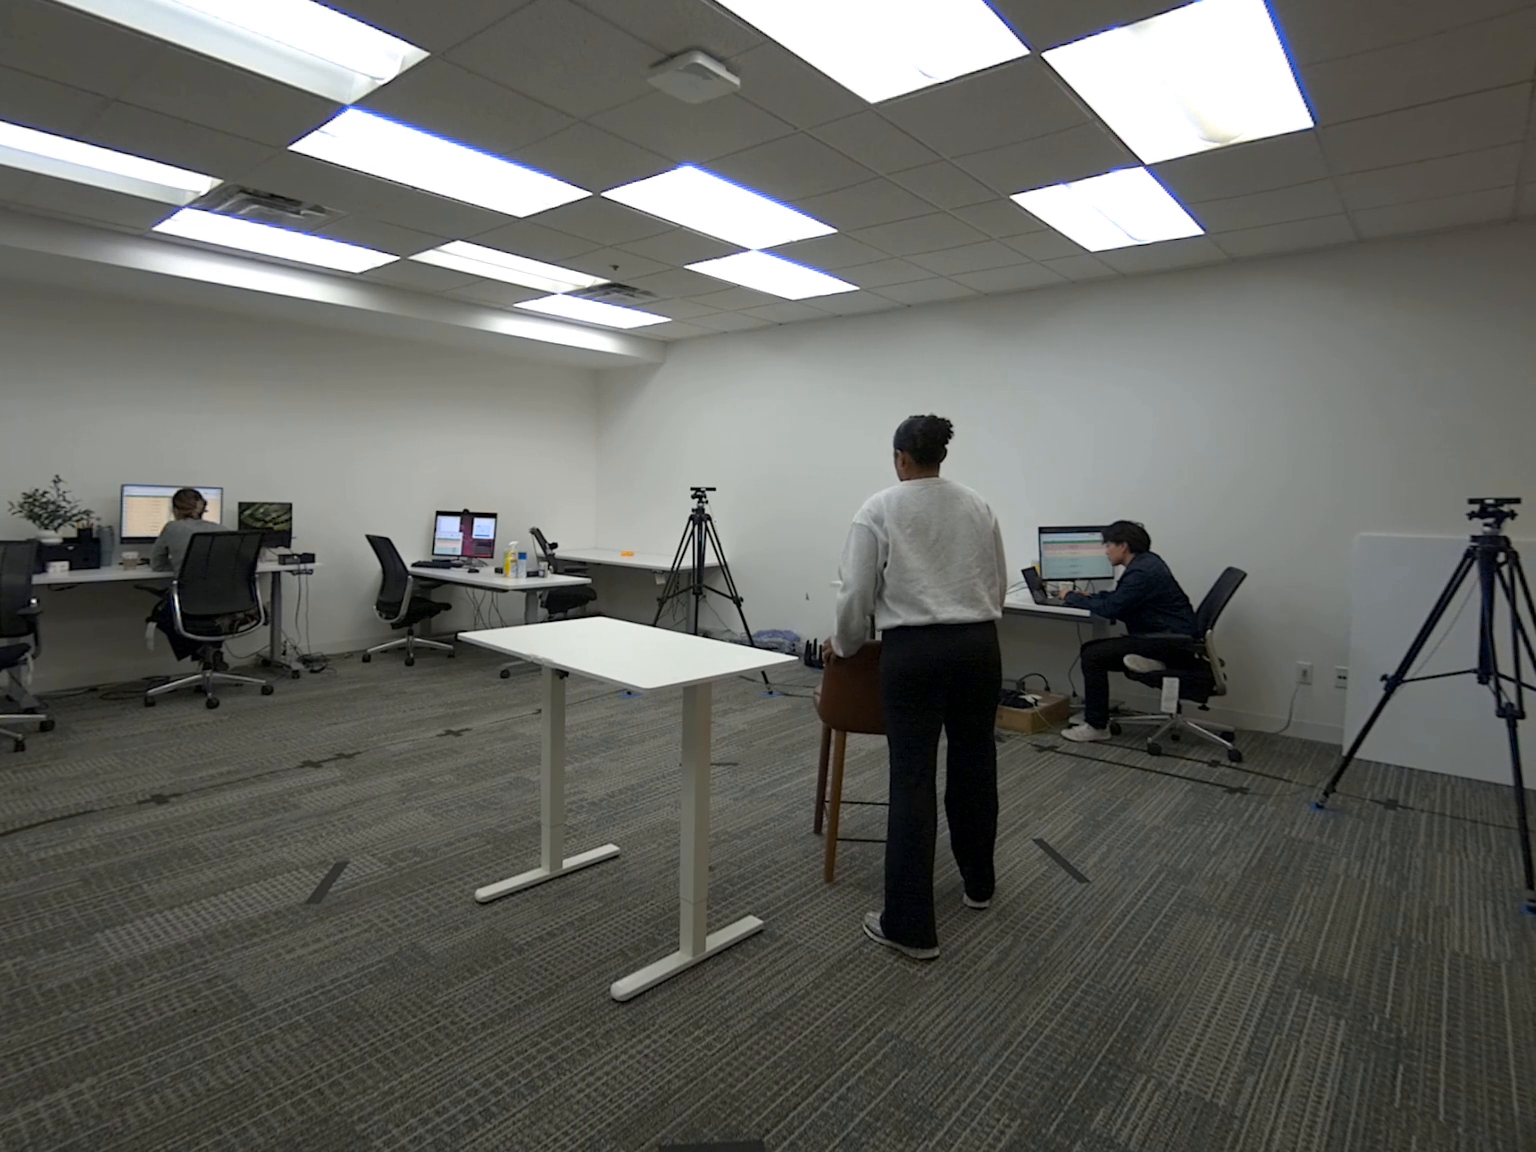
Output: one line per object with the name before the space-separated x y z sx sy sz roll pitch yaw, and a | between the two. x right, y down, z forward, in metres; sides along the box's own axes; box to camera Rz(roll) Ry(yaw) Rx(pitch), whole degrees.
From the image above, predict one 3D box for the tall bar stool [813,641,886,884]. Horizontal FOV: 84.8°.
tall bar stool | 0.392 0.635 3.202 0.458 0.886 0.468 2 5 2
